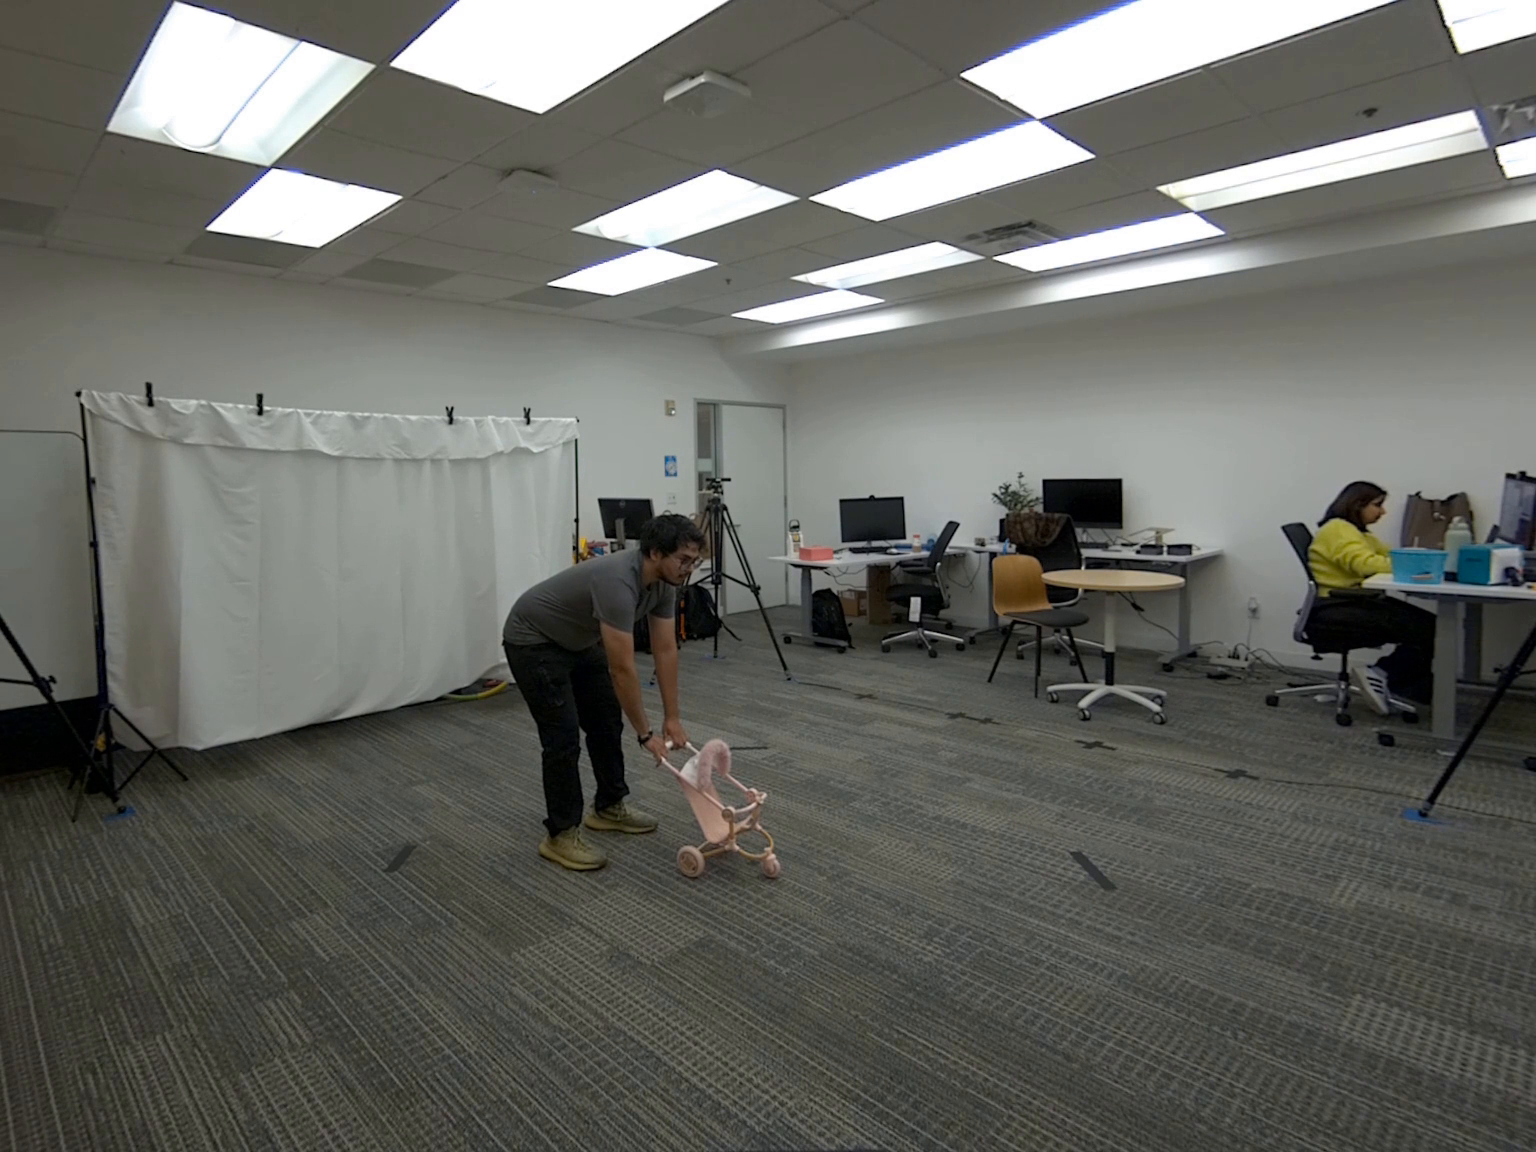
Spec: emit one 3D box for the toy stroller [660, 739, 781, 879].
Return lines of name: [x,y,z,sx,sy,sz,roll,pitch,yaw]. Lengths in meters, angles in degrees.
toy stroller: [-0.164,0.827,3.064,0.347,0.538,0.275,-18,-5,31]
